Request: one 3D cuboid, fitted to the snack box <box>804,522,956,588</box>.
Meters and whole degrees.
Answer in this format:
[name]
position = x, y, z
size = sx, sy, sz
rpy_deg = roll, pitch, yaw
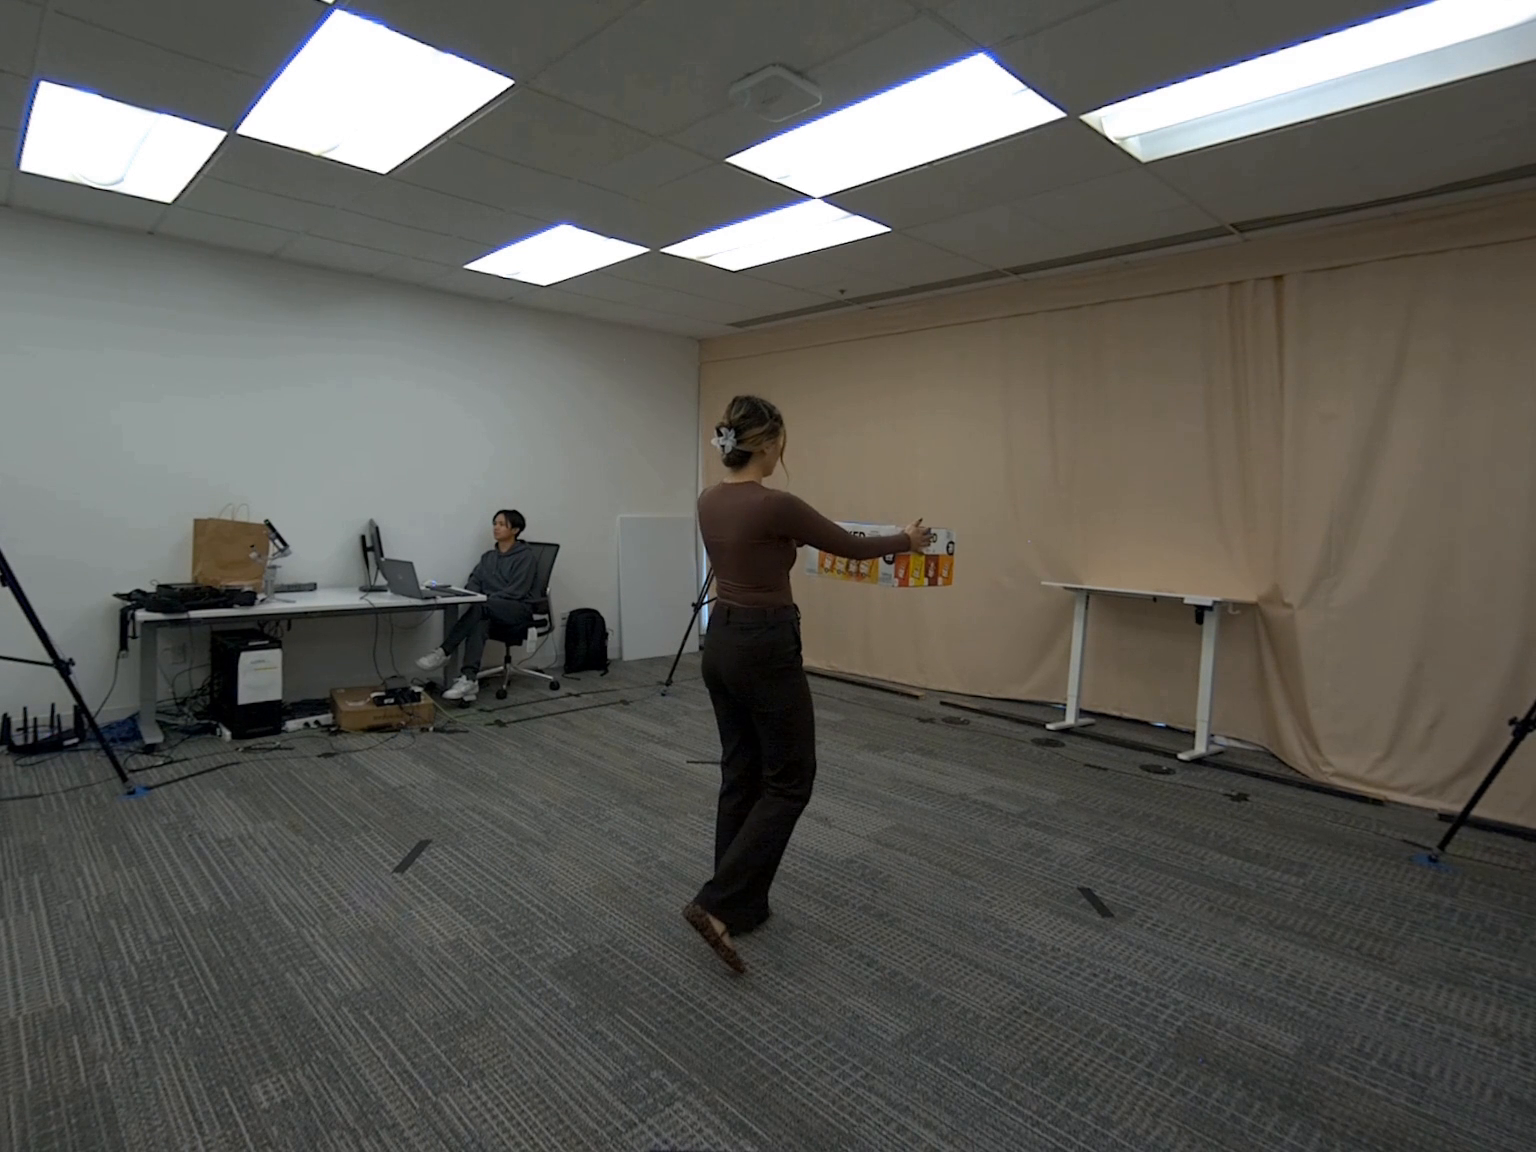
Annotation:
[snack box]
position = 0.399, -0.080, 3.039
size = 0.332, 0.205, 0.415
rpy_deg = -1, 5, -43
